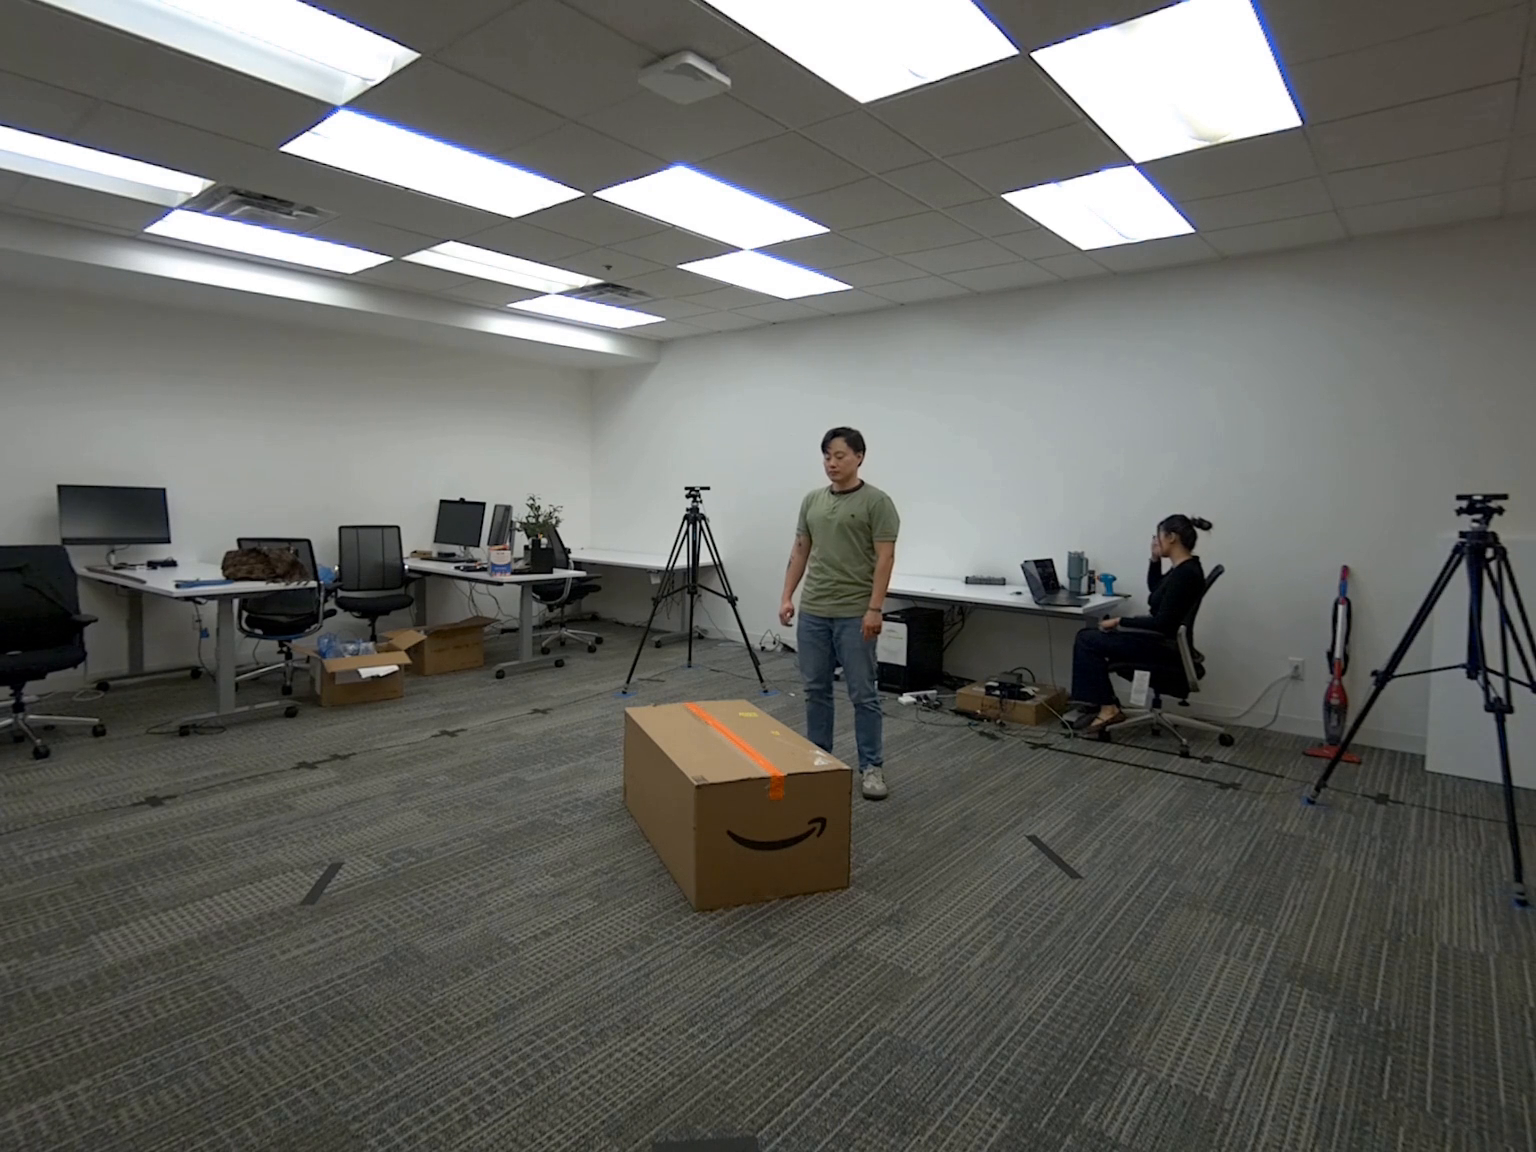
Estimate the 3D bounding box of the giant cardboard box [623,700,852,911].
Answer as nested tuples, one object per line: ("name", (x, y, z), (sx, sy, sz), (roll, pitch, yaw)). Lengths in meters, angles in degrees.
("giant cardboard box", (-0.182, 0.824, 3.339), (0.565, 0.425, 1.052), (0, 5, -22))
